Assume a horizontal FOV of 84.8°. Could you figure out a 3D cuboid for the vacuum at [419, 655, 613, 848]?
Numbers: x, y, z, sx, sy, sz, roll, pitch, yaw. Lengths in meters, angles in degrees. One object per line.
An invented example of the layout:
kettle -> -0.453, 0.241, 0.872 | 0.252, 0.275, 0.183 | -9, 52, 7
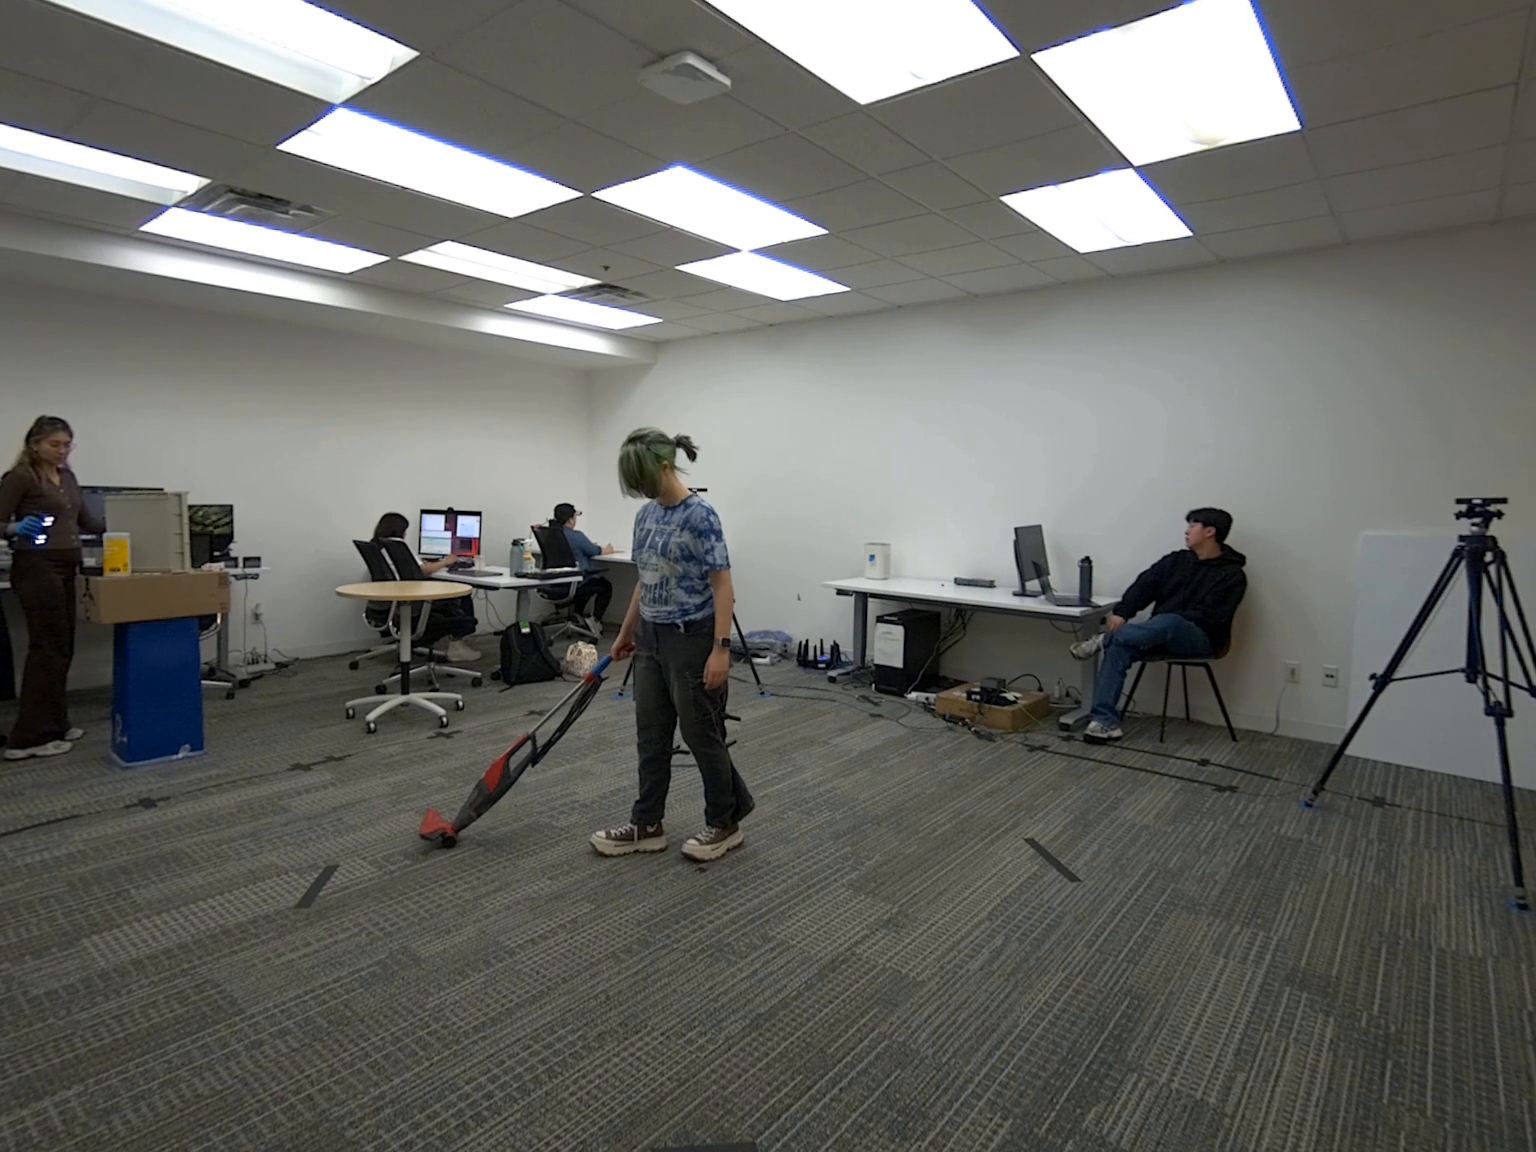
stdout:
vacuum -> -0.924, 0.655, 3.360 | 1.048, 0.141, 0.258 | -42, 15, -6
